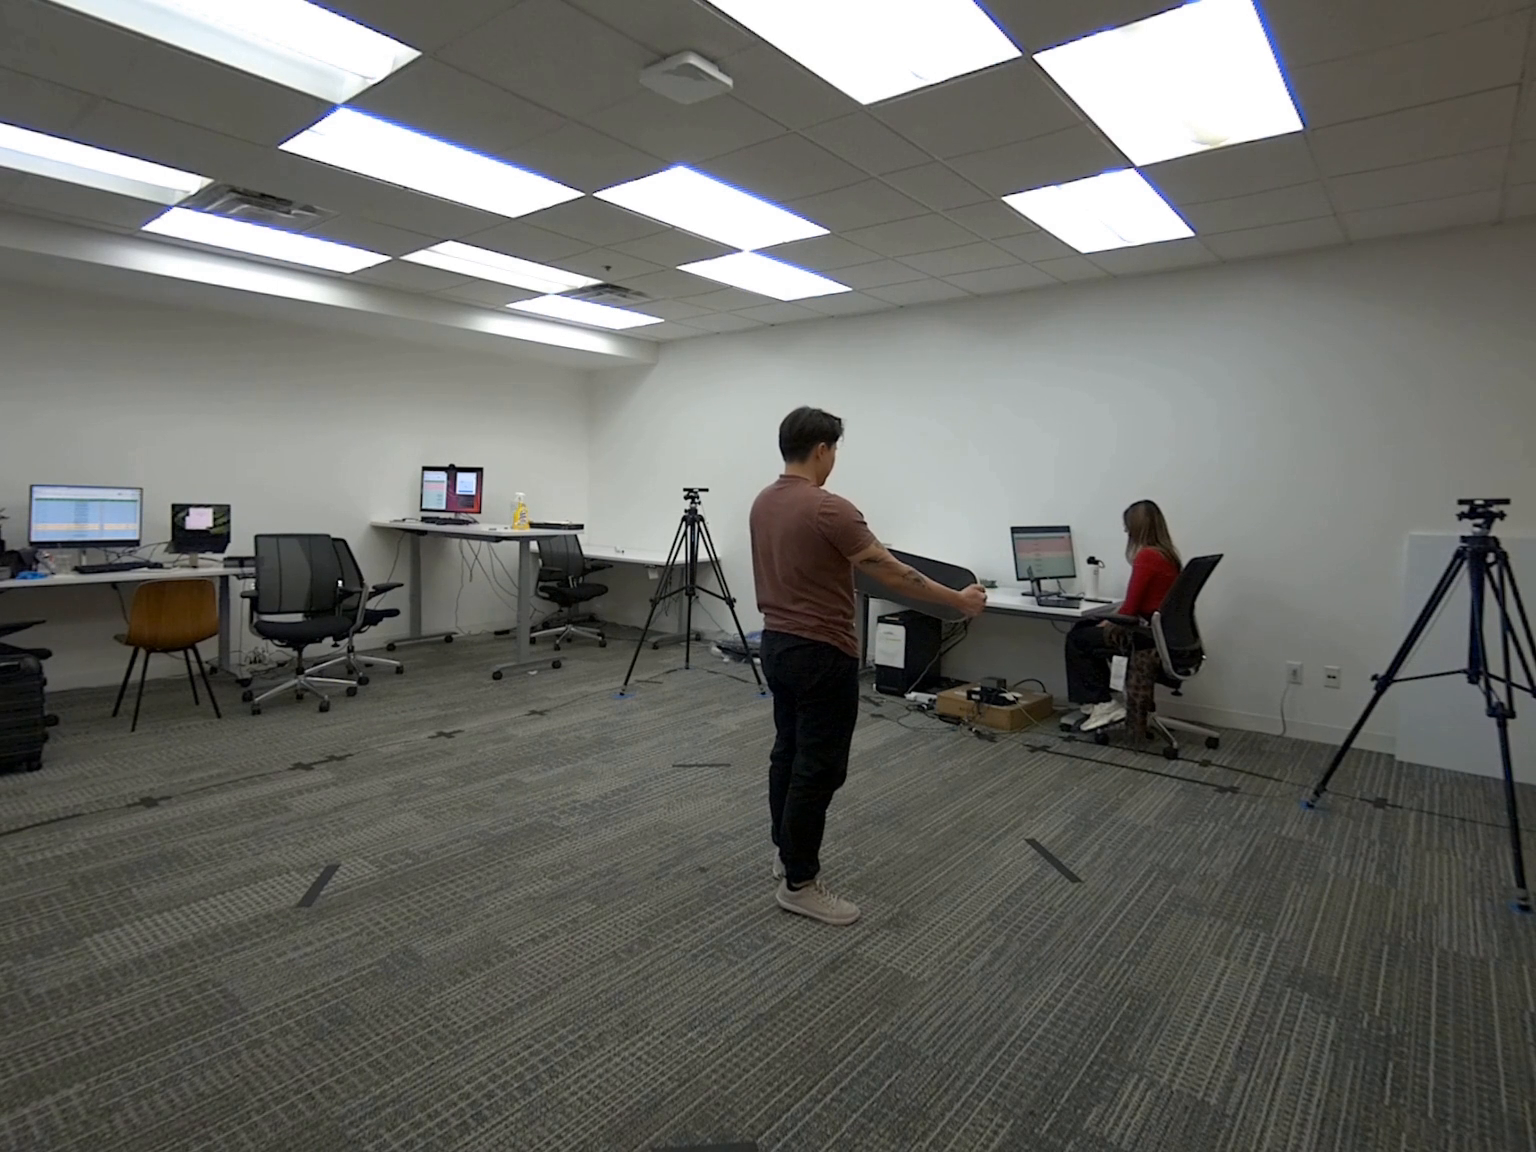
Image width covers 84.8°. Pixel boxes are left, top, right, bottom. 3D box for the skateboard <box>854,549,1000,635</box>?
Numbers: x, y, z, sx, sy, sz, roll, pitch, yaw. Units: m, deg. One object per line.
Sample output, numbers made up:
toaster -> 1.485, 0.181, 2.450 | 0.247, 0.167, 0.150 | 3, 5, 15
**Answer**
skateboard -> 0.507, 0.015, 3.159 | 0.107, 0.193, 0.812 | 18, 2, -31
